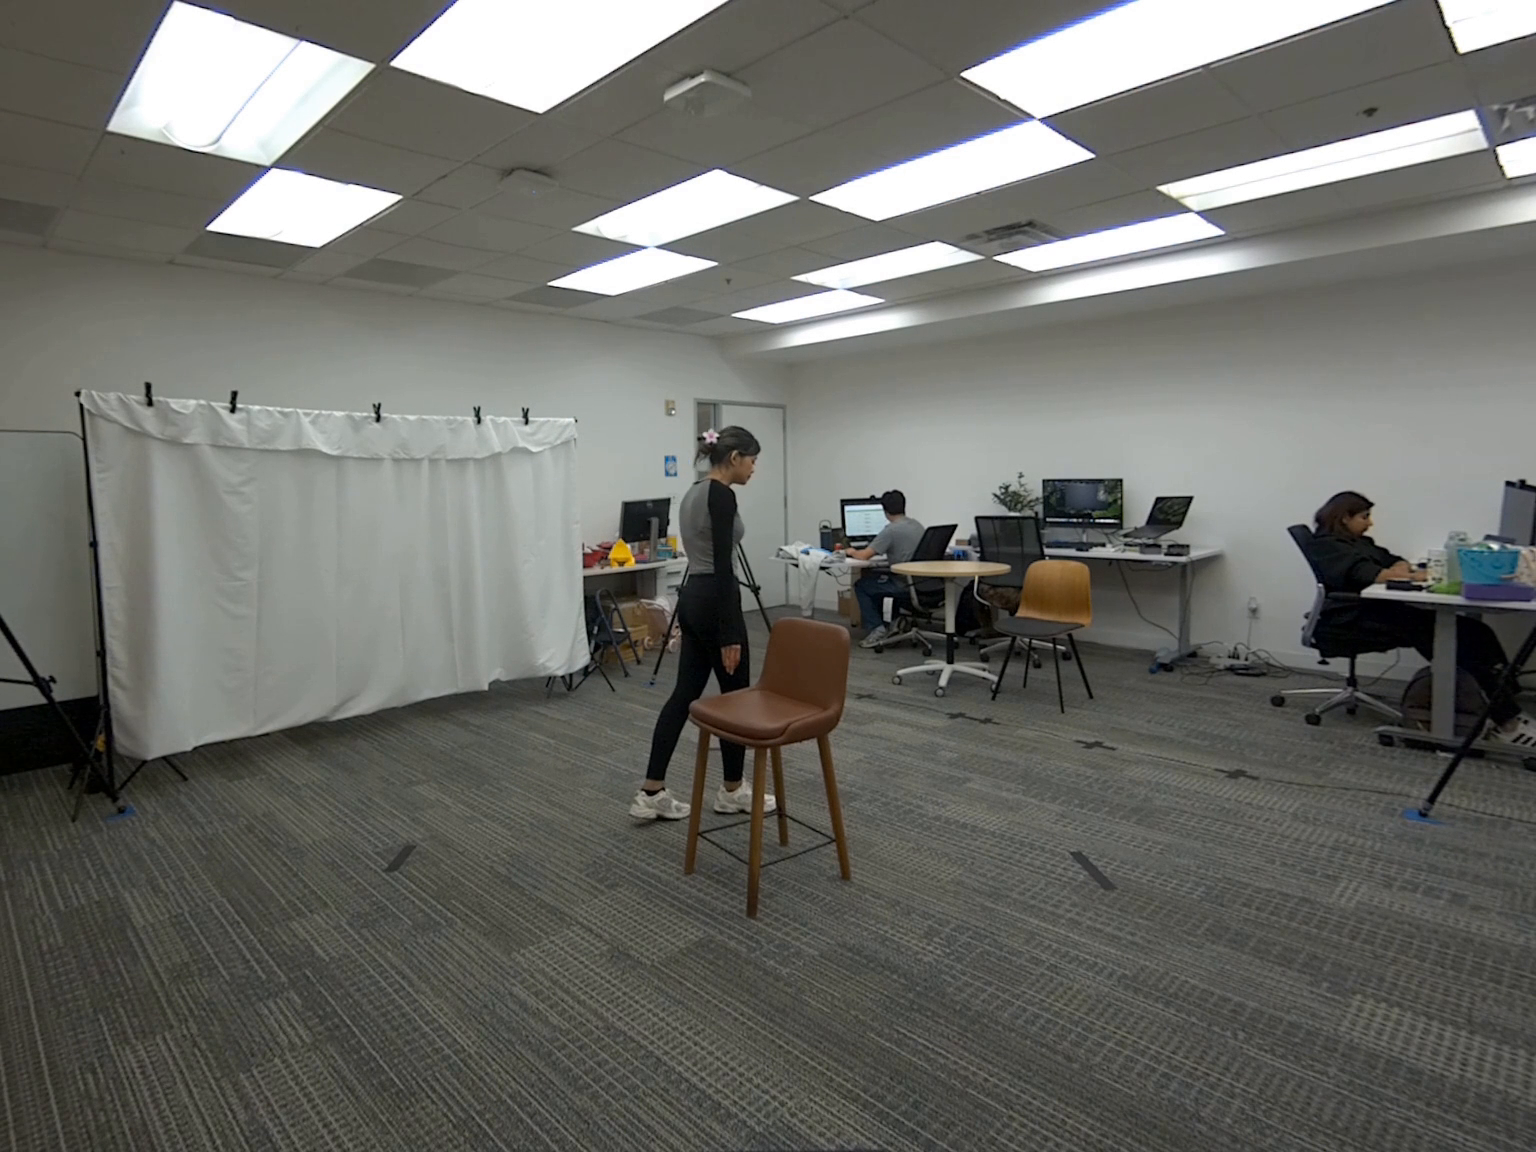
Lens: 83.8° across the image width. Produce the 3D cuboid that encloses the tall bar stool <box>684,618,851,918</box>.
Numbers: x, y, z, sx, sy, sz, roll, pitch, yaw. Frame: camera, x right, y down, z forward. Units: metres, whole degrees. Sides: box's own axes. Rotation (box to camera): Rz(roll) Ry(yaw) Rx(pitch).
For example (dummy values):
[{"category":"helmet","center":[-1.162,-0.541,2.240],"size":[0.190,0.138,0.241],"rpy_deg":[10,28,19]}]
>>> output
[{"category":"tall bar stool","center":[0.001,0.621,2.970],"size":[0.455,0.887,0.470],"rpy_deg":[-2,4,-37]}]
